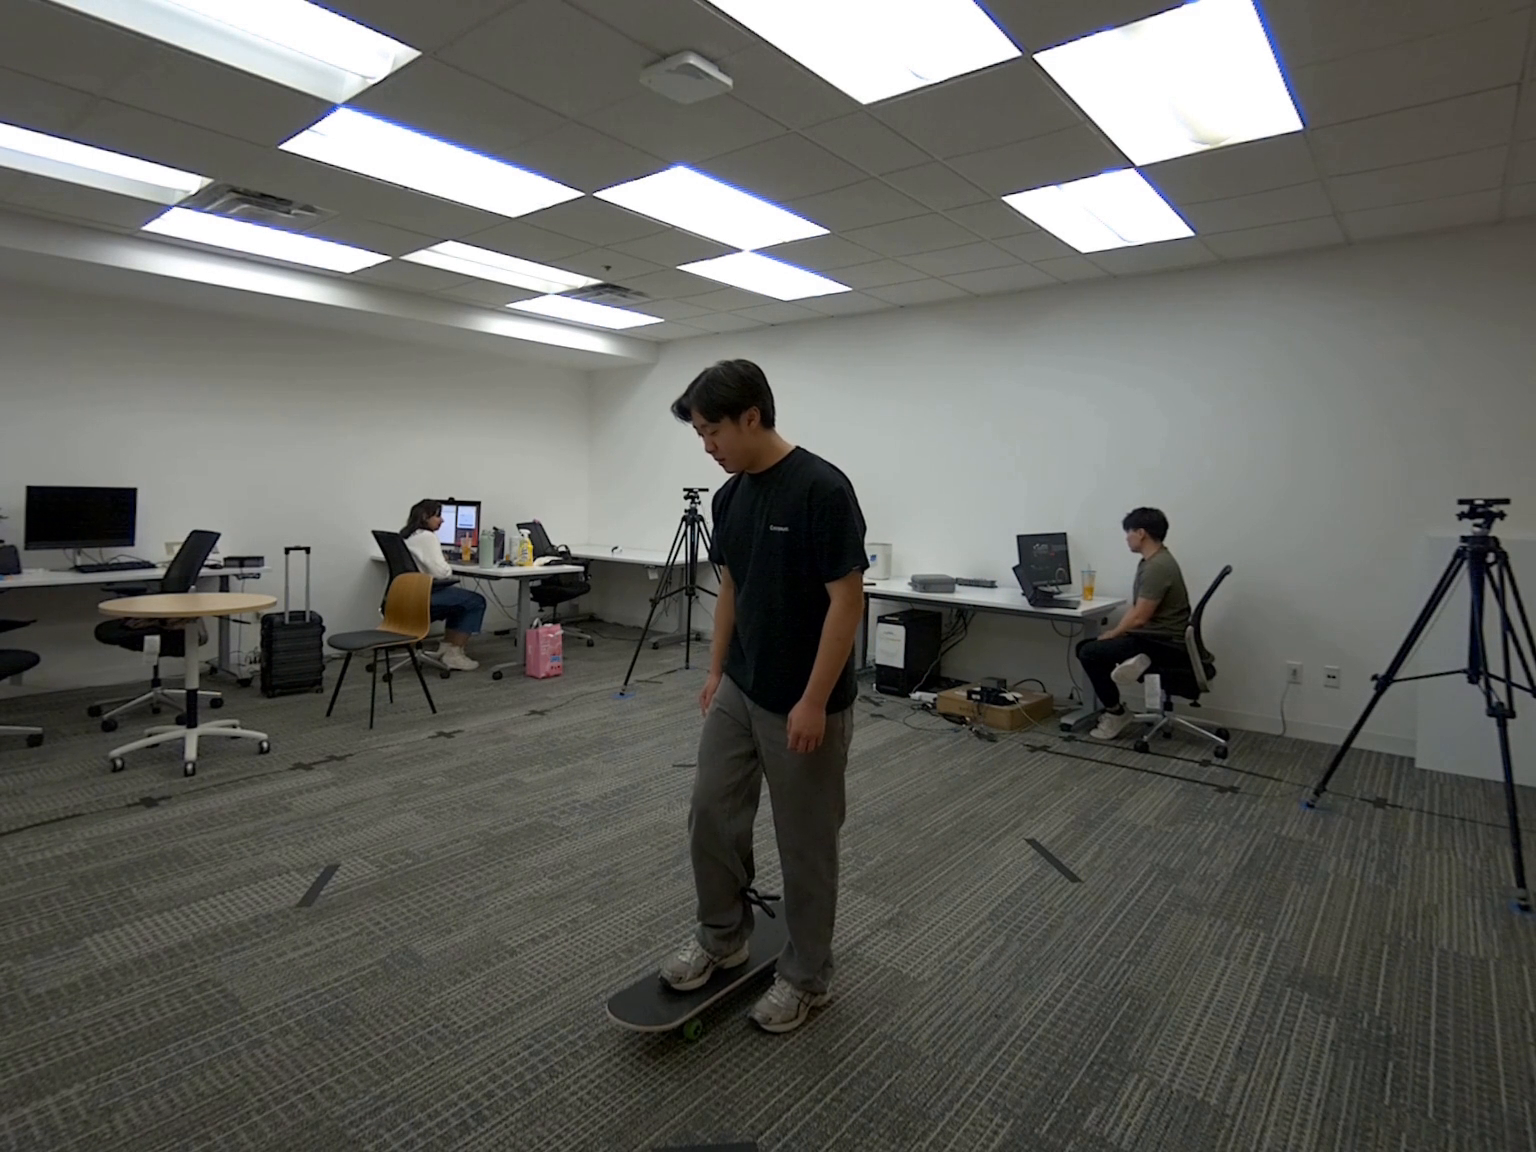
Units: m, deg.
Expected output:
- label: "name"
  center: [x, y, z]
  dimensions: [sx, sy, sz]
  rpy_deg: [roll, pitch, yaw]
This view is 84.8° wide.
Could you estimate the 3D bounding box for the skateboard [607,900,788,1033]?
- label: "skateboard"
  center: [-0.139, 1.094, 2.359]
  dimensions: [0.200, 0.110, 0.762]
  rpy_deg: [5, 6, 38]
